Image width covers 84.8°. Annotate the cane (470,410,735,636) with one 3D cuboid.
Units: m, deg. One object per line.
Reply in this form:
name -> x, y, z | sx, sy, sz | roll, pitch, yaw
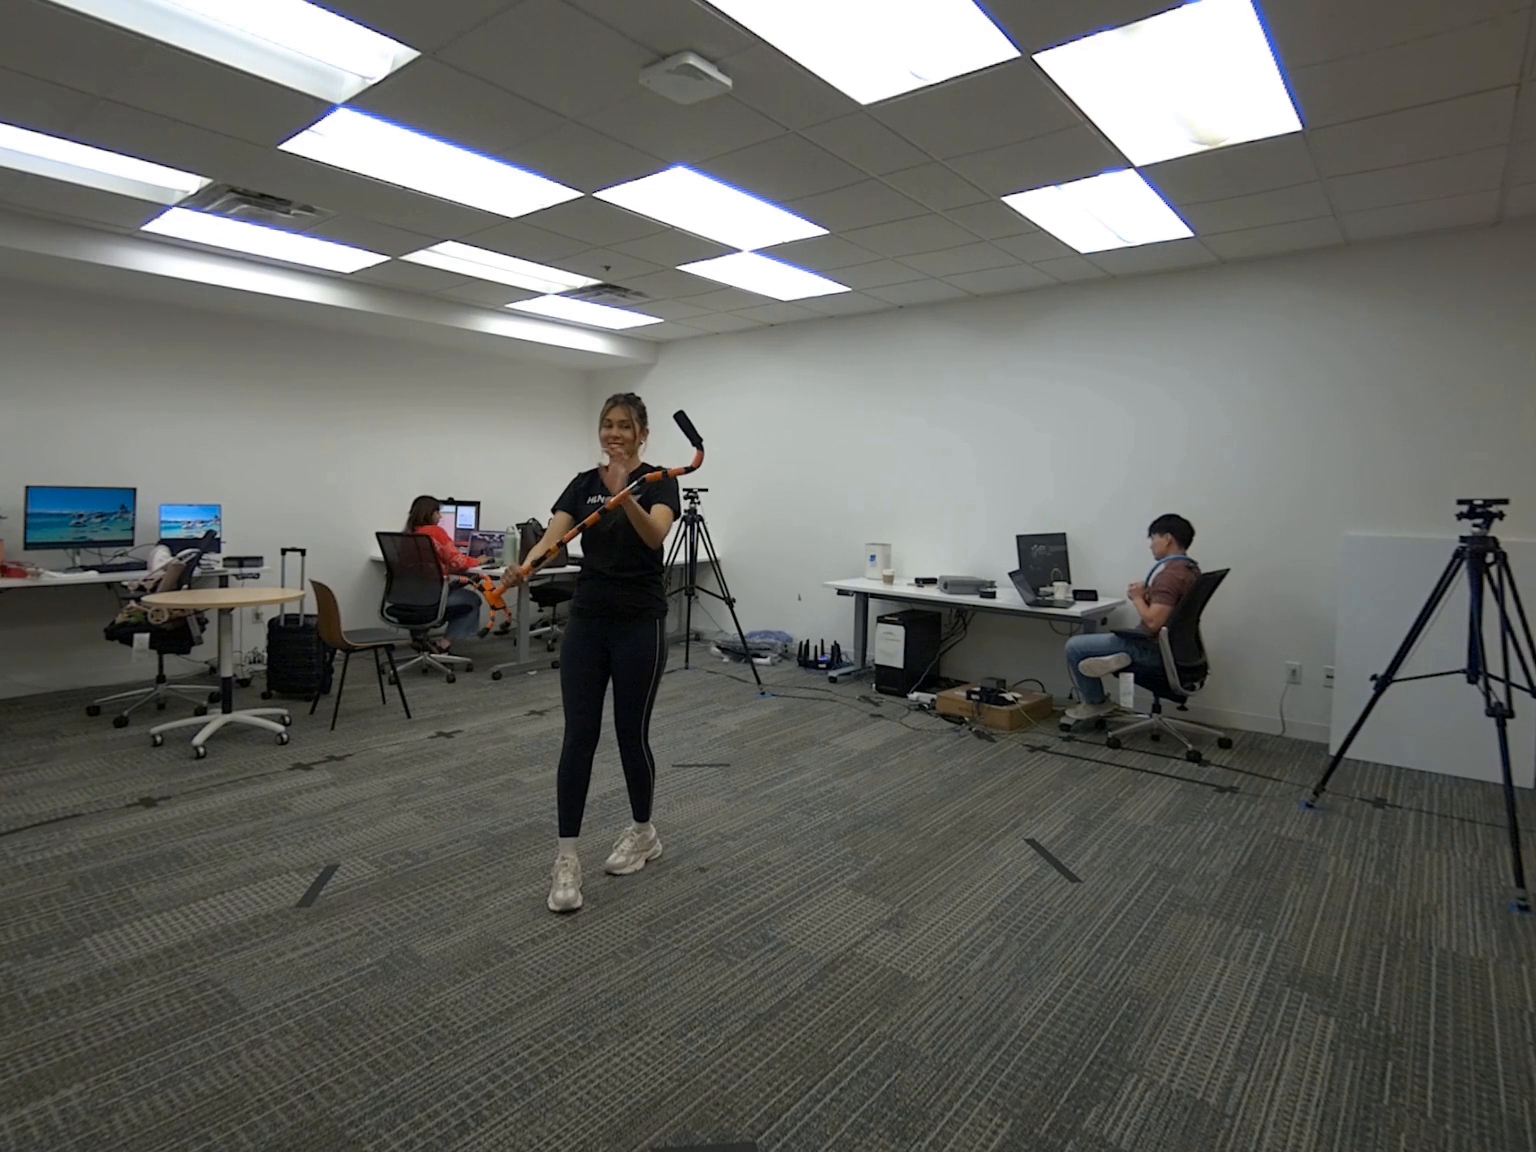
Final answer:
cane -> -0.560, -0.153, 2.530 | 0.913, 0.208, 0.149 | -34, -5, 17
